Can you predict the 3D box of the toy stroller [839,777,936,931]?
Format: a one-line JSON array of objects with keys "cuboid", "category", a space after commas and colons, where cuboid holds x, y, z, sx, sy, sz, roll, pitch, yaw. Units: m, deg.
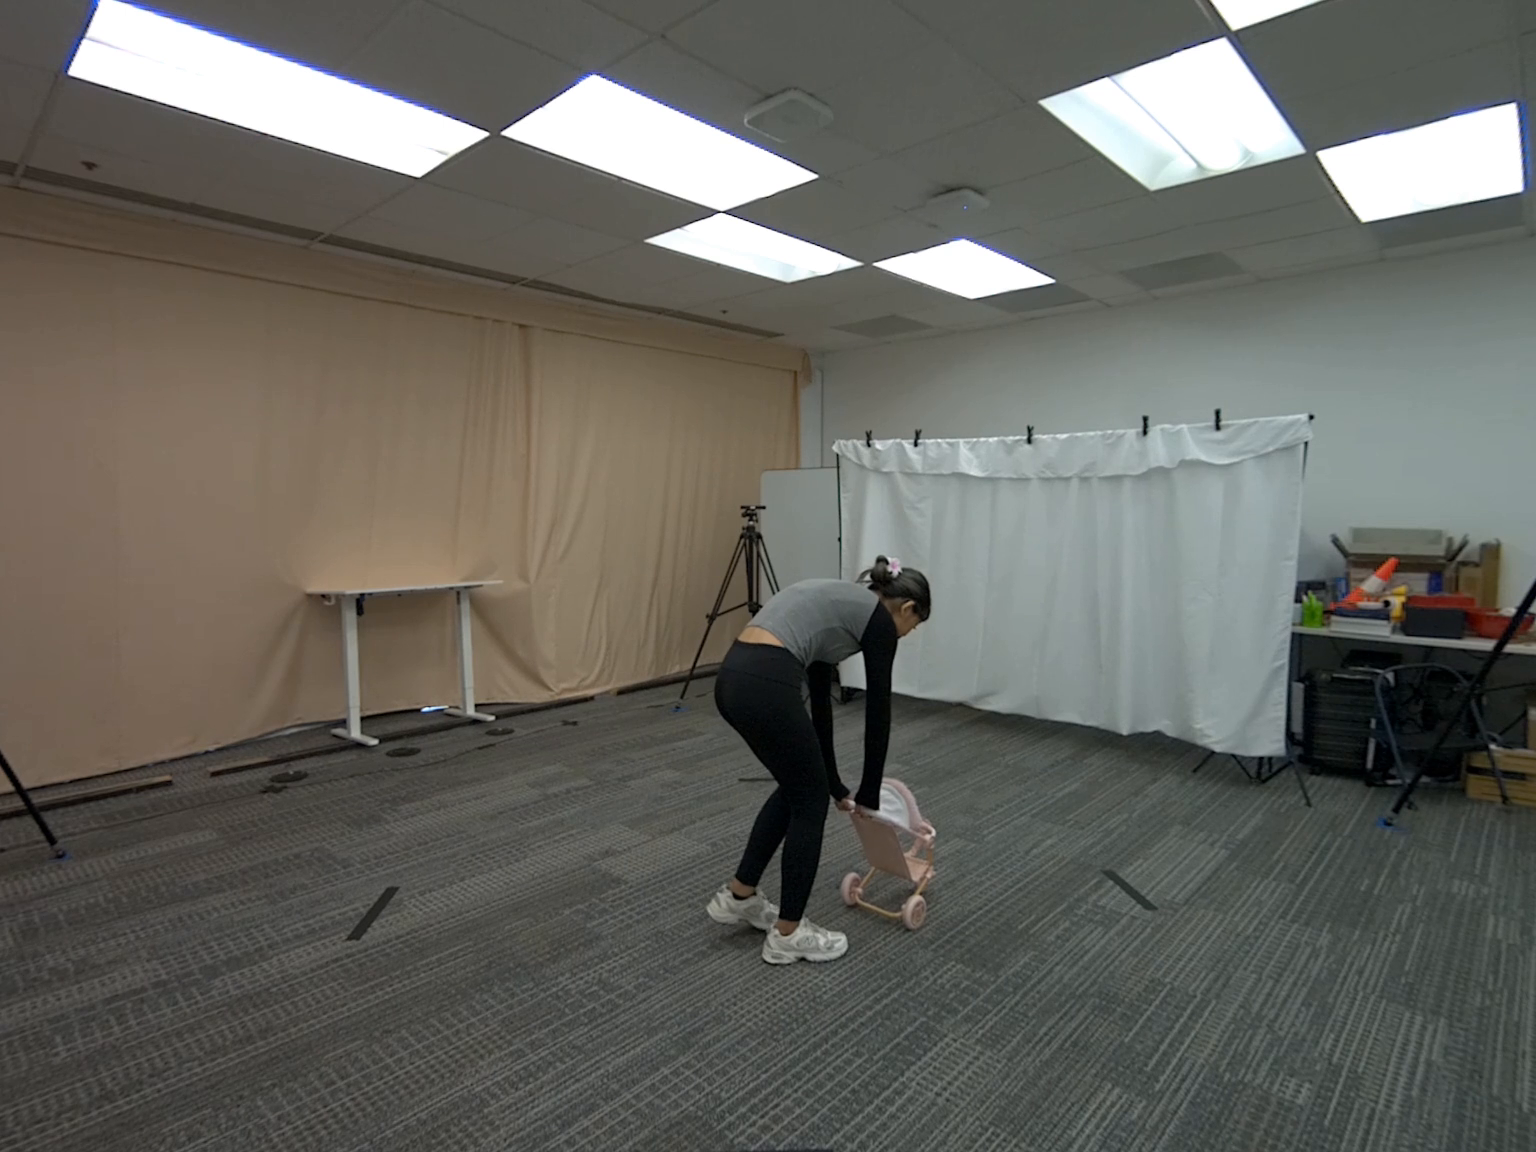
[{"cuboid": [0.433, 0.924, 2.884, 0.291, 0.529, 0.334, 4, 21, 45], "category": "toy stroller"}]
